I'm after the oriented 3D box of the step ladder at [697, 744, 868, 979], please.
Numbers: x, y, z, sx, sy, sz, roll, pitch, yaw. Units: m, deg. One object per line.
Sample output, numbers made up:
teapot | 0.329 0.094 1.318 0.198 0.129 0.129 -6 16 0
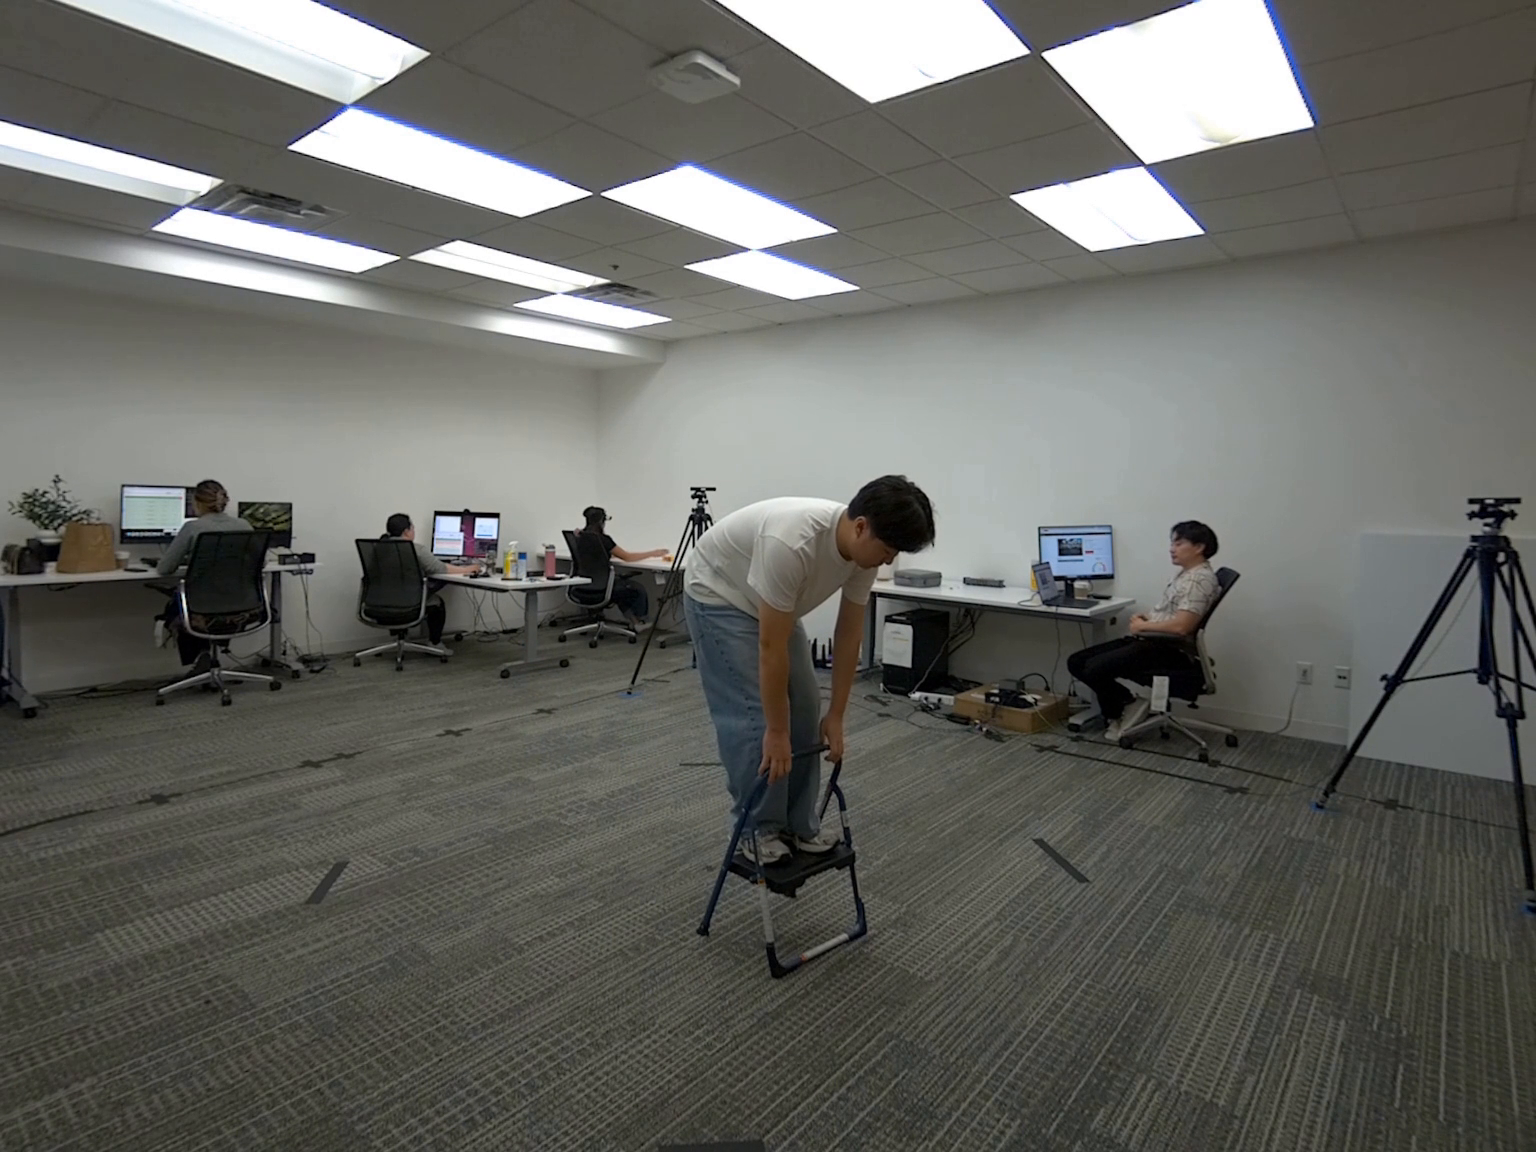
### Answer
step ladder | 0.048 0.815 2.650 0.417 0.604 0.361 -2 5 -44
